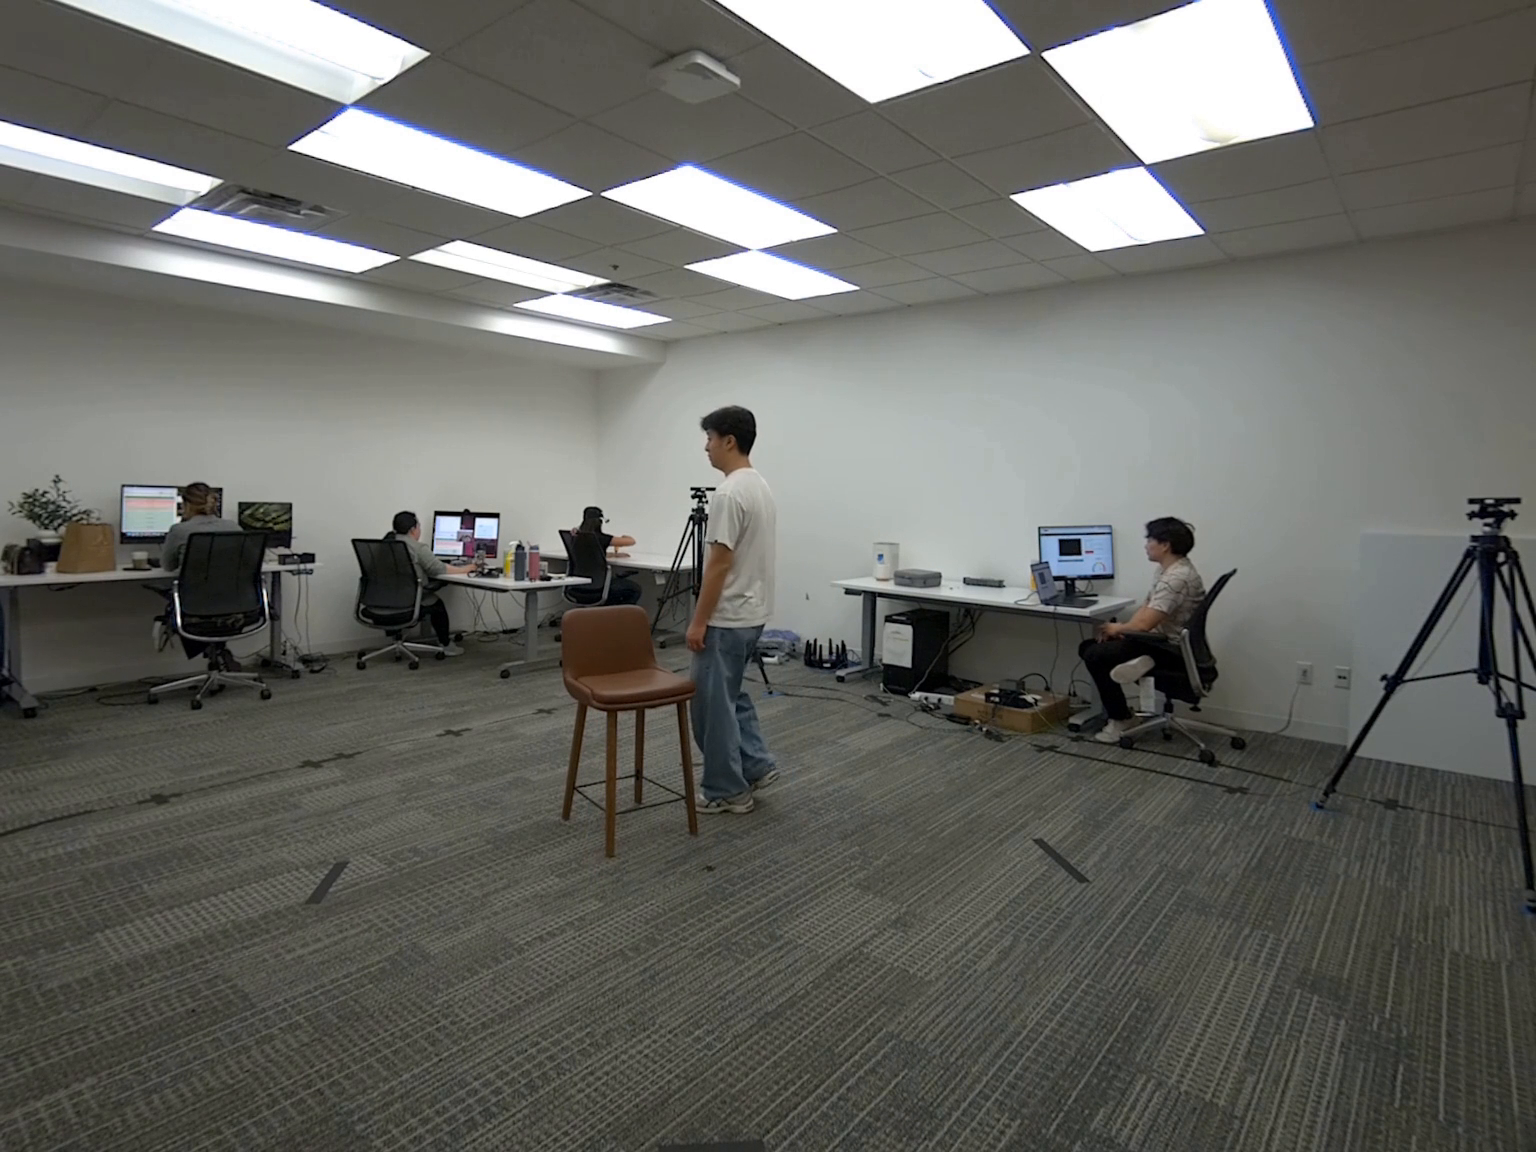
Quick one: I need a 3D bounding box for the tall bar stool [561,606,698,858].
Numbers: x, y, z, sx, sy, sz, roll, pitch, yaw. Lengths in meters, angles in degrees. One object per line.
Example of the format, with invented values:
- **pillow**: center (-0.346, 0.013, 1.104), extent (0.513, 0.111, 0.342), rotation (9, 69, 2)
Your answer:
- **tall bar stool**: center (-0.591, 0.590, 3.460), extent (0.443, 0.888, 0.482), rotation (-2, 2, -37)
